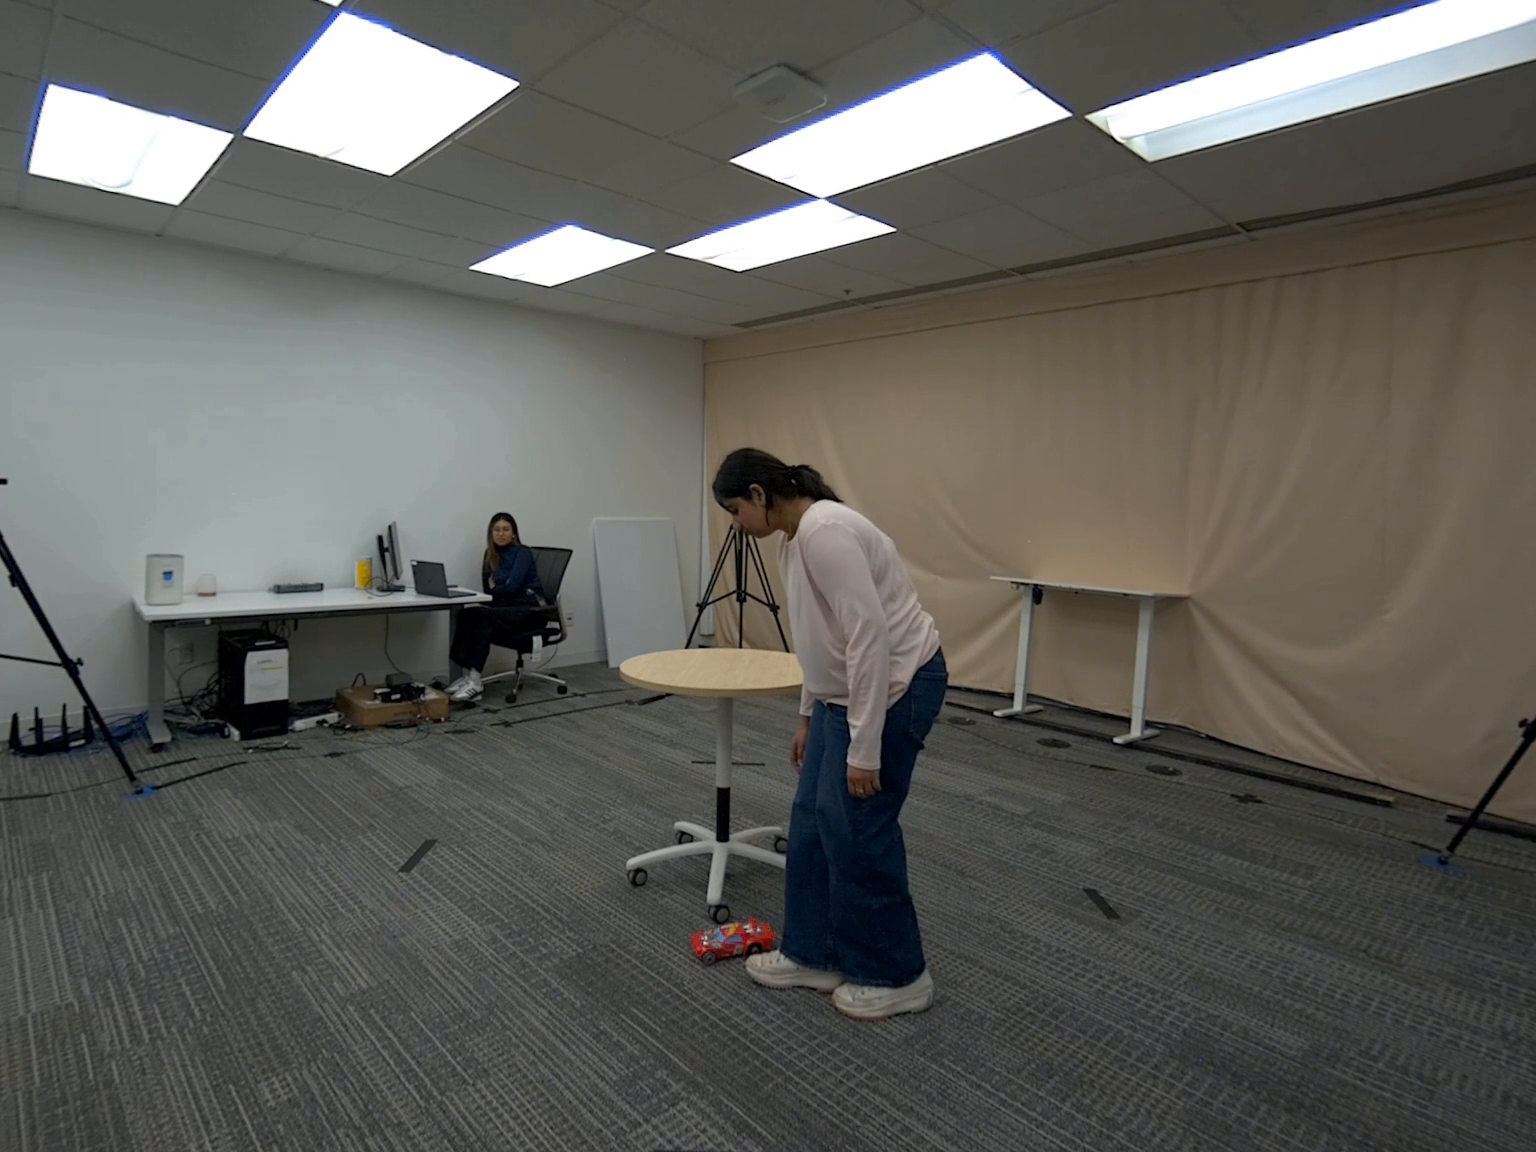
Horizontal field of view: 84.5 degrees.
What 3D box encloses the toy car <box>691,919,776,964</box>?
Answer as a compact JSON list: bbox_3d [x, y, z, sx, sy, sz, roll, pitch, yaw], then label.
[{"bbox_3d":[-0.108,1.125,2.576,0.252,0.082,0.132,-12,9,-16],"label":"toy car"}]
